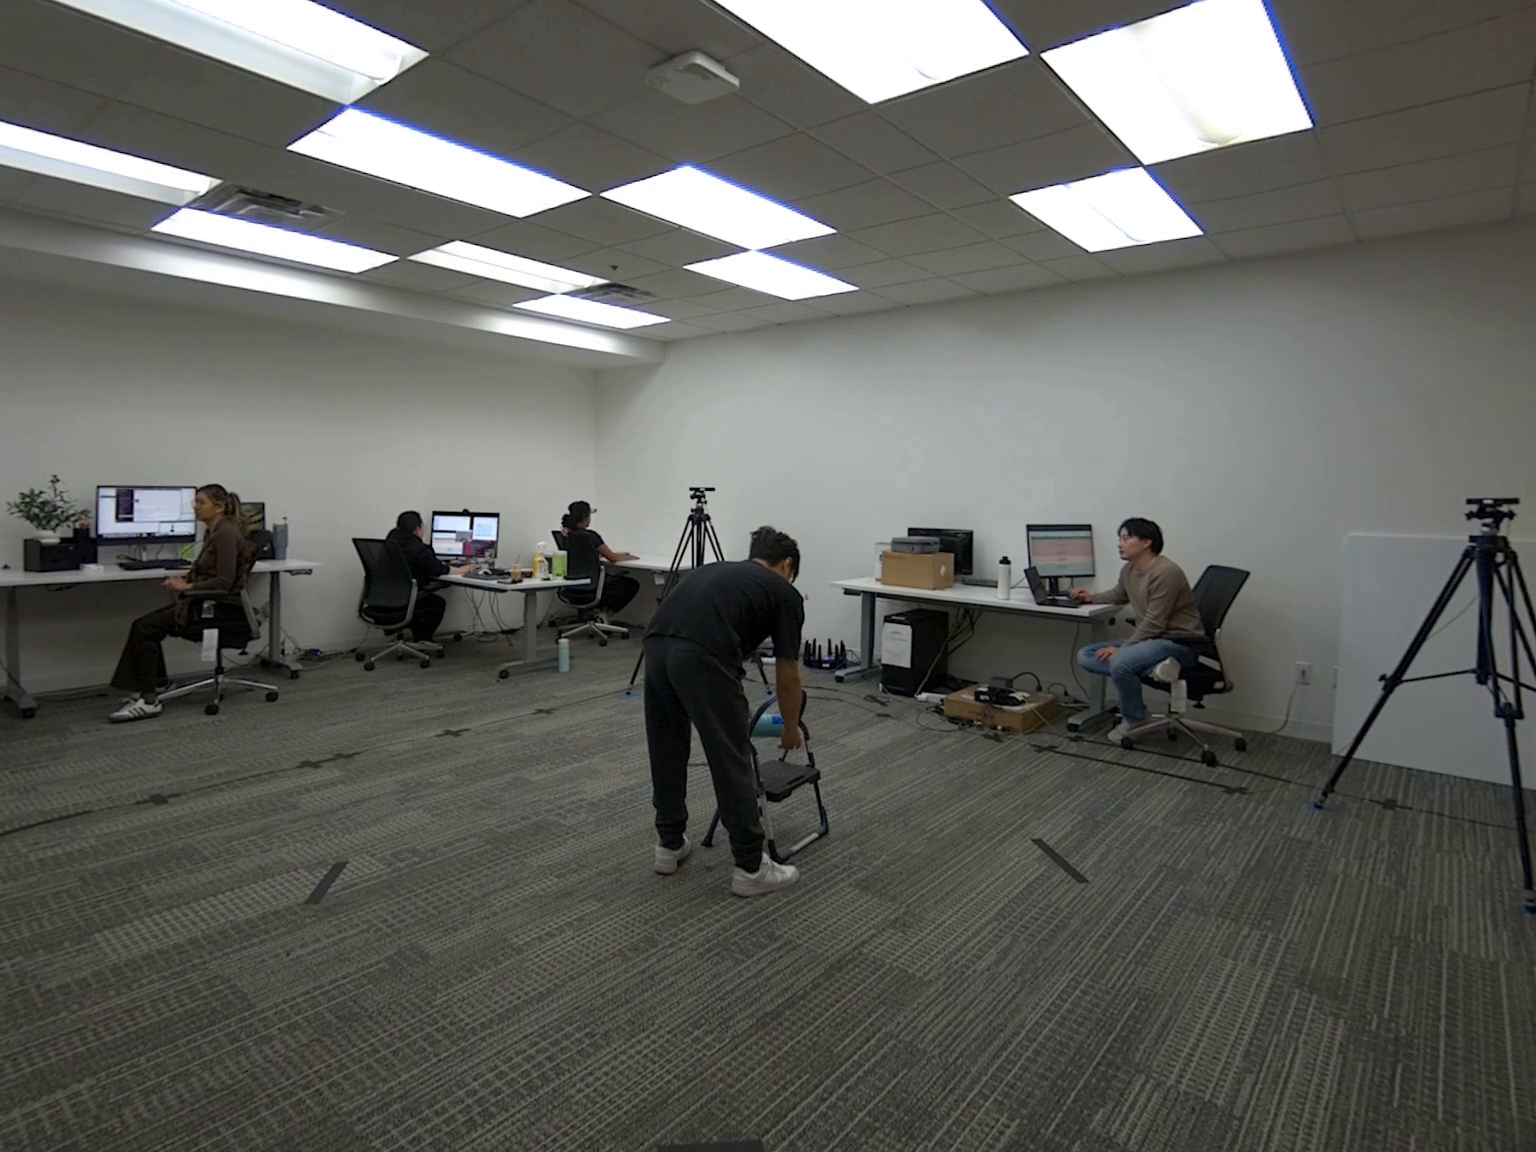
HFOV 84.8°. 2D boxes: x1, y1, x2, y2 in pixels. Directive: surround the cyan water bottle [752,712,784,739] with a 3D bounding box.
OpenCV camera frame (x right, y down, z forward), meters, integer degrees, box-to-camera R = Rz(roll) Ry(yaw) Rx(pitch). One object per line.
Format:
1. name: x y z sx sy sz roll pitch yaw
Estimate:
1. cyan water bottle: -0.033 0.589 3.381 0.281 0.092 0.093 1 4 -8
